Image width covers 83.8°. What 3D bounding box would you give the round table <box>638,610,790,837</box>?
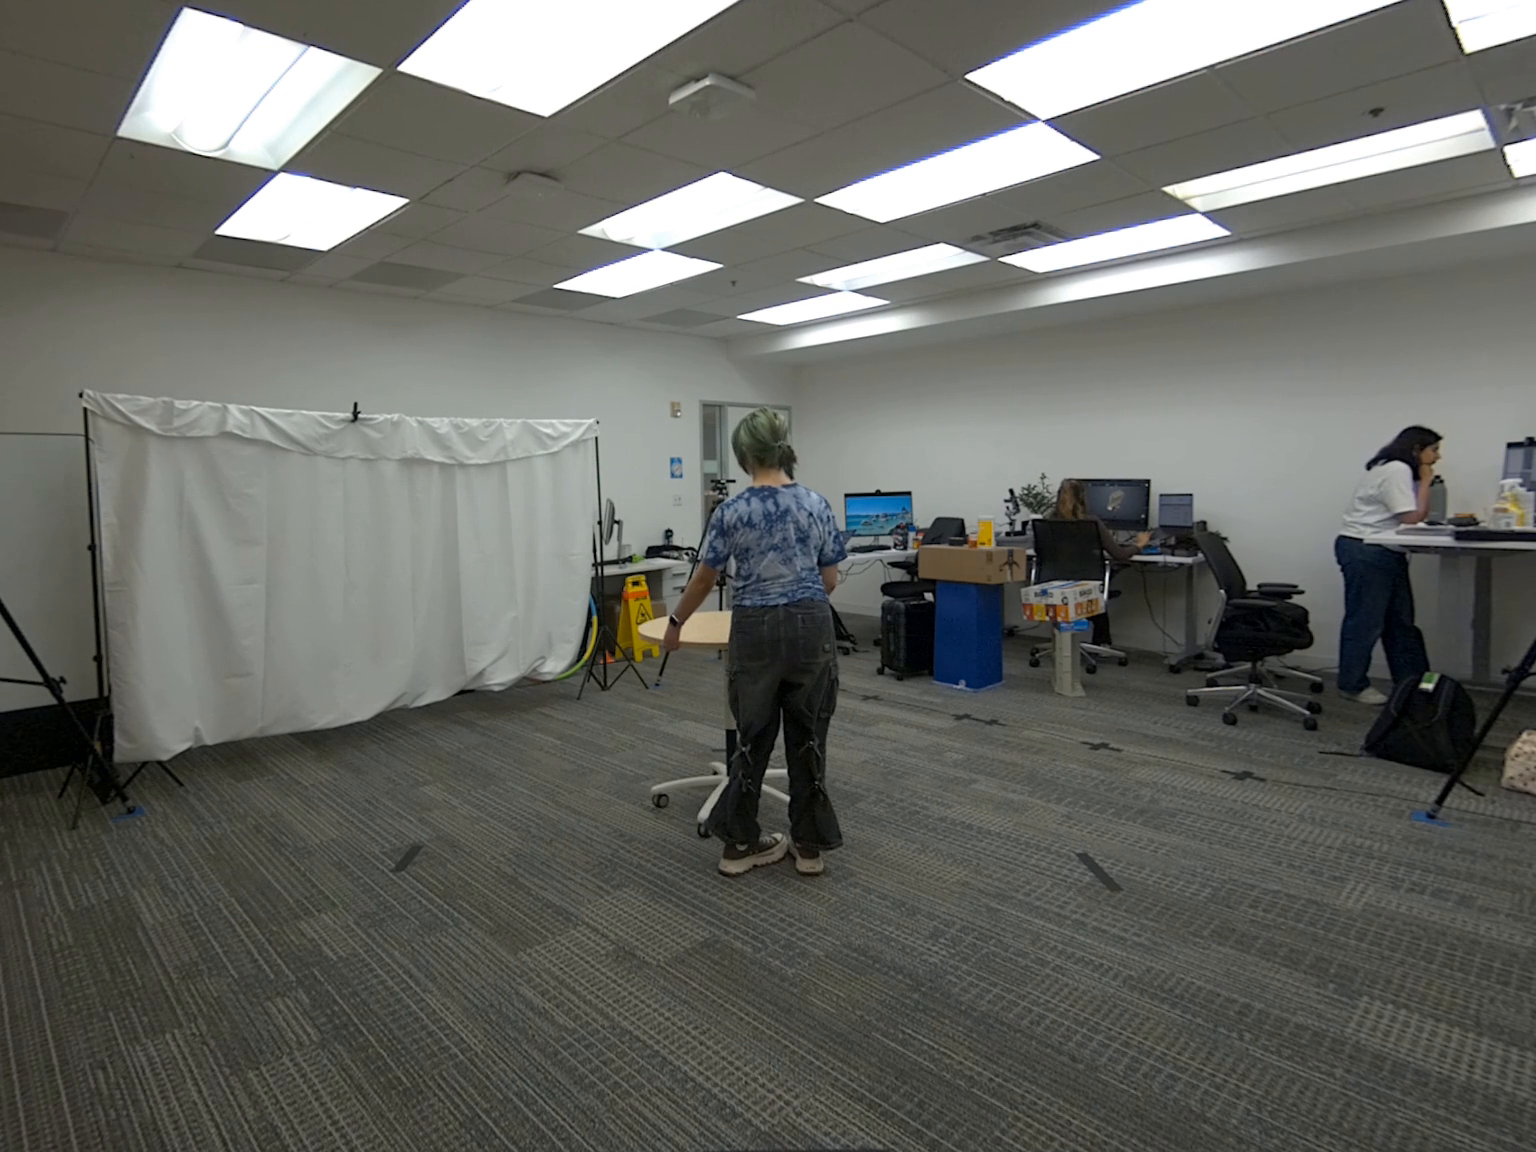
[{"bbox_3d":[-0.154,0.602,3.618,0.763,0.791,0.767,-2,4,-2],"label":"round table"}]
